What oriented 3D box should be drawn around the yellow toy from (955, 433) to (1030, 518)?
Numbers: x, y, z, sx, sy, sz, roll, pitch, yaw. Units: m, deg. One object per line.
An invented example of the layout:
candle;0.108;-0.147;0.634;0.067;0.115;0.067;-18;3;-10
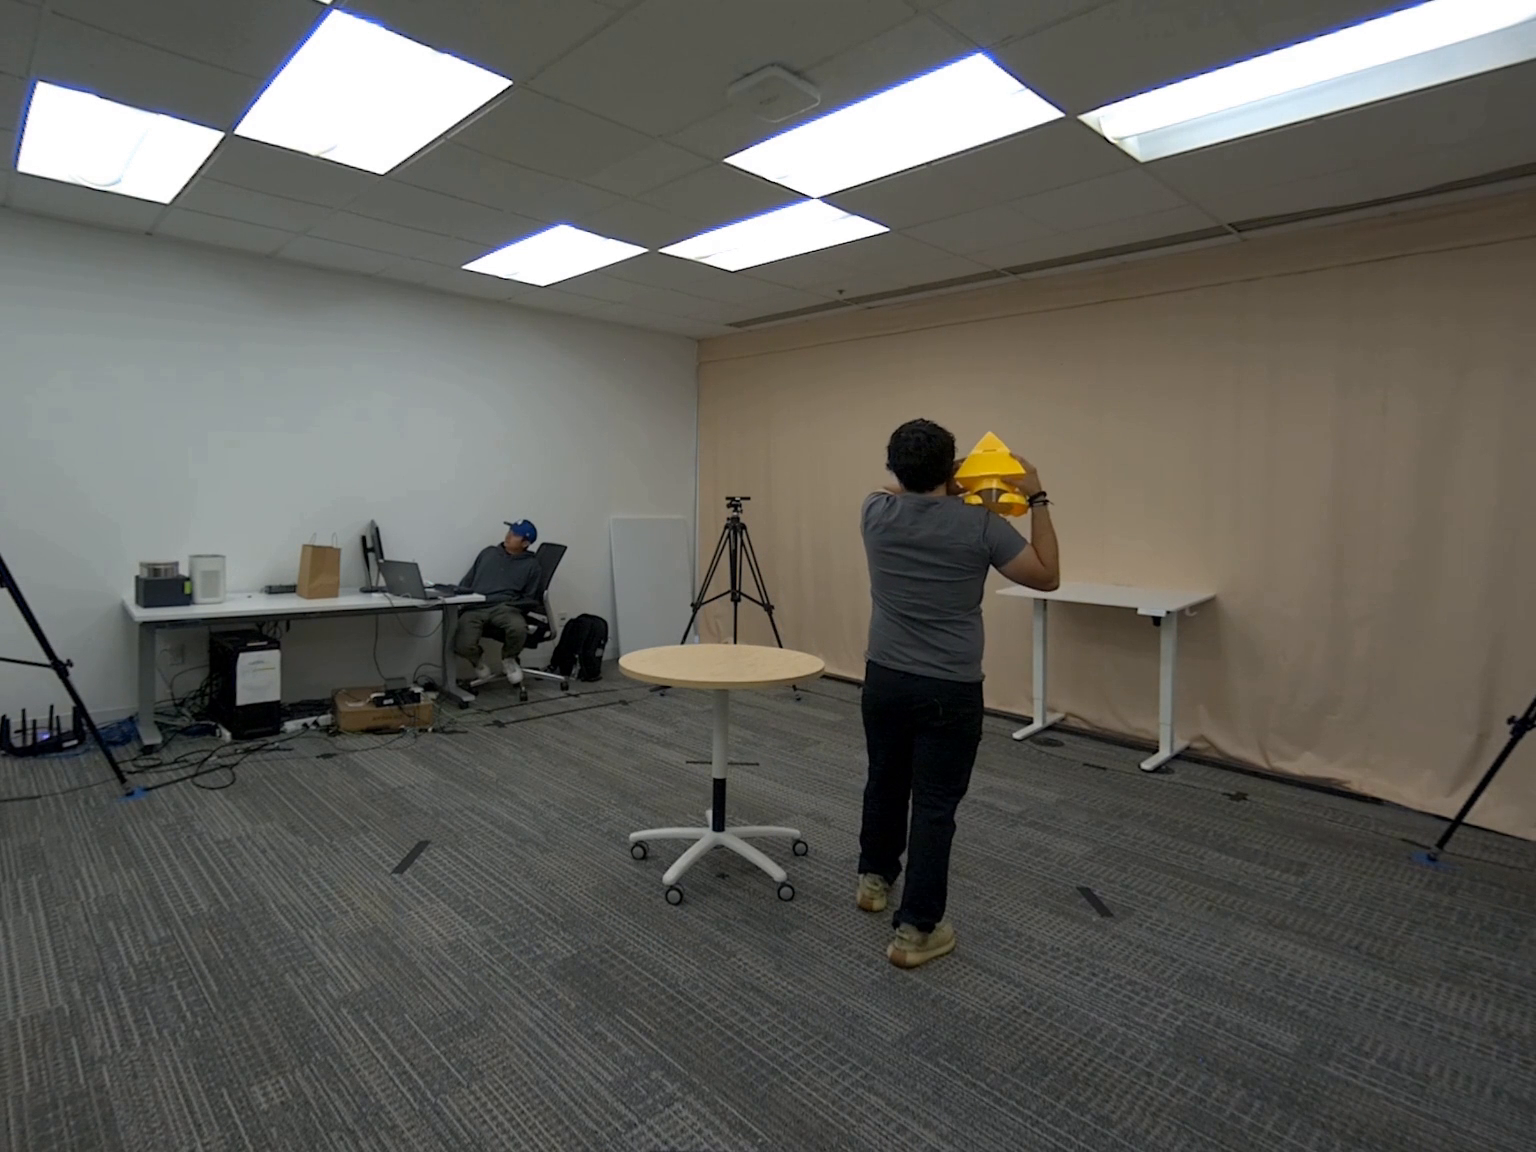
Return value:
yellow toy;0.678;-0.313;2.571;0.208;0.233;0.188;-2;-14;20
